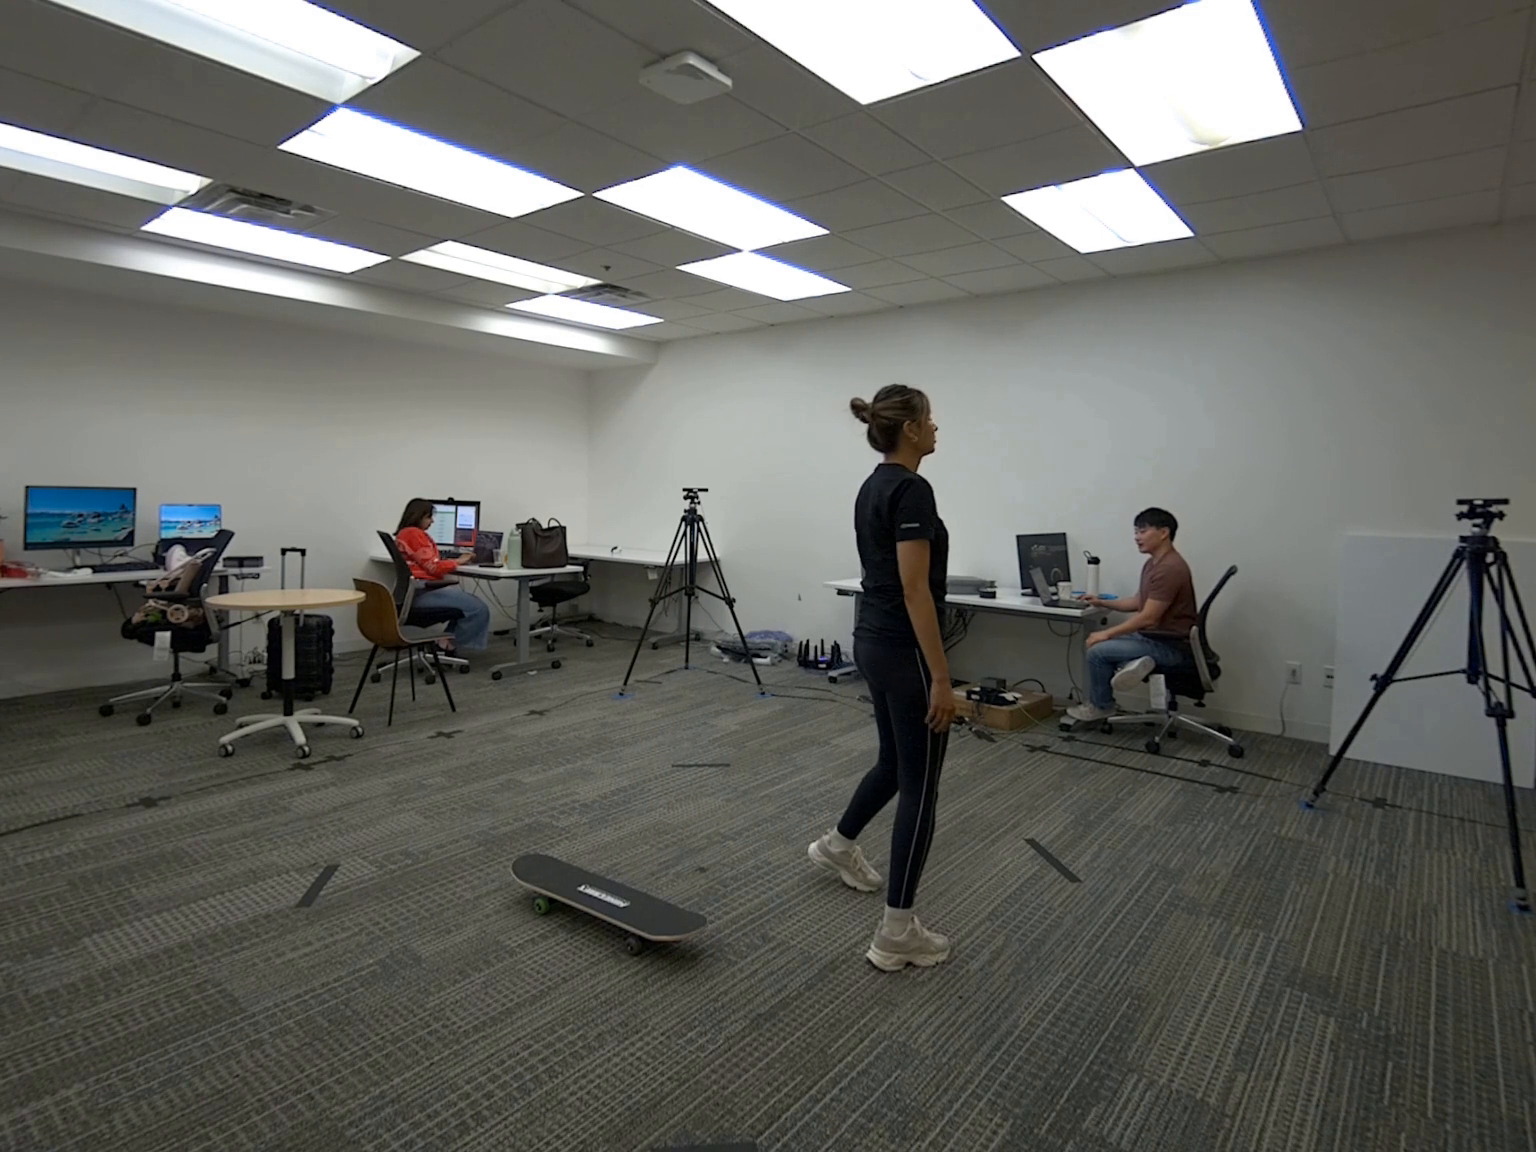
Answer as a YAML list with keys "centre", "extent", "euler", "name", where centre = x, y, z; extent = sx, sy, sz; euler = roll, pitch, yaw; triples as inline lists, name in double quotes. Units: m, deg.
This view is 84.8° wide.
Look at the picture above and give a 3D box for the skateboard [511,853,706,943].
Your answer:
- centre: [-0.538, 1.043, 2.705]
  extent: [0.810, 0.110, 0.188]
  euler: [5, 5, 34]
  name: "skateboard"
